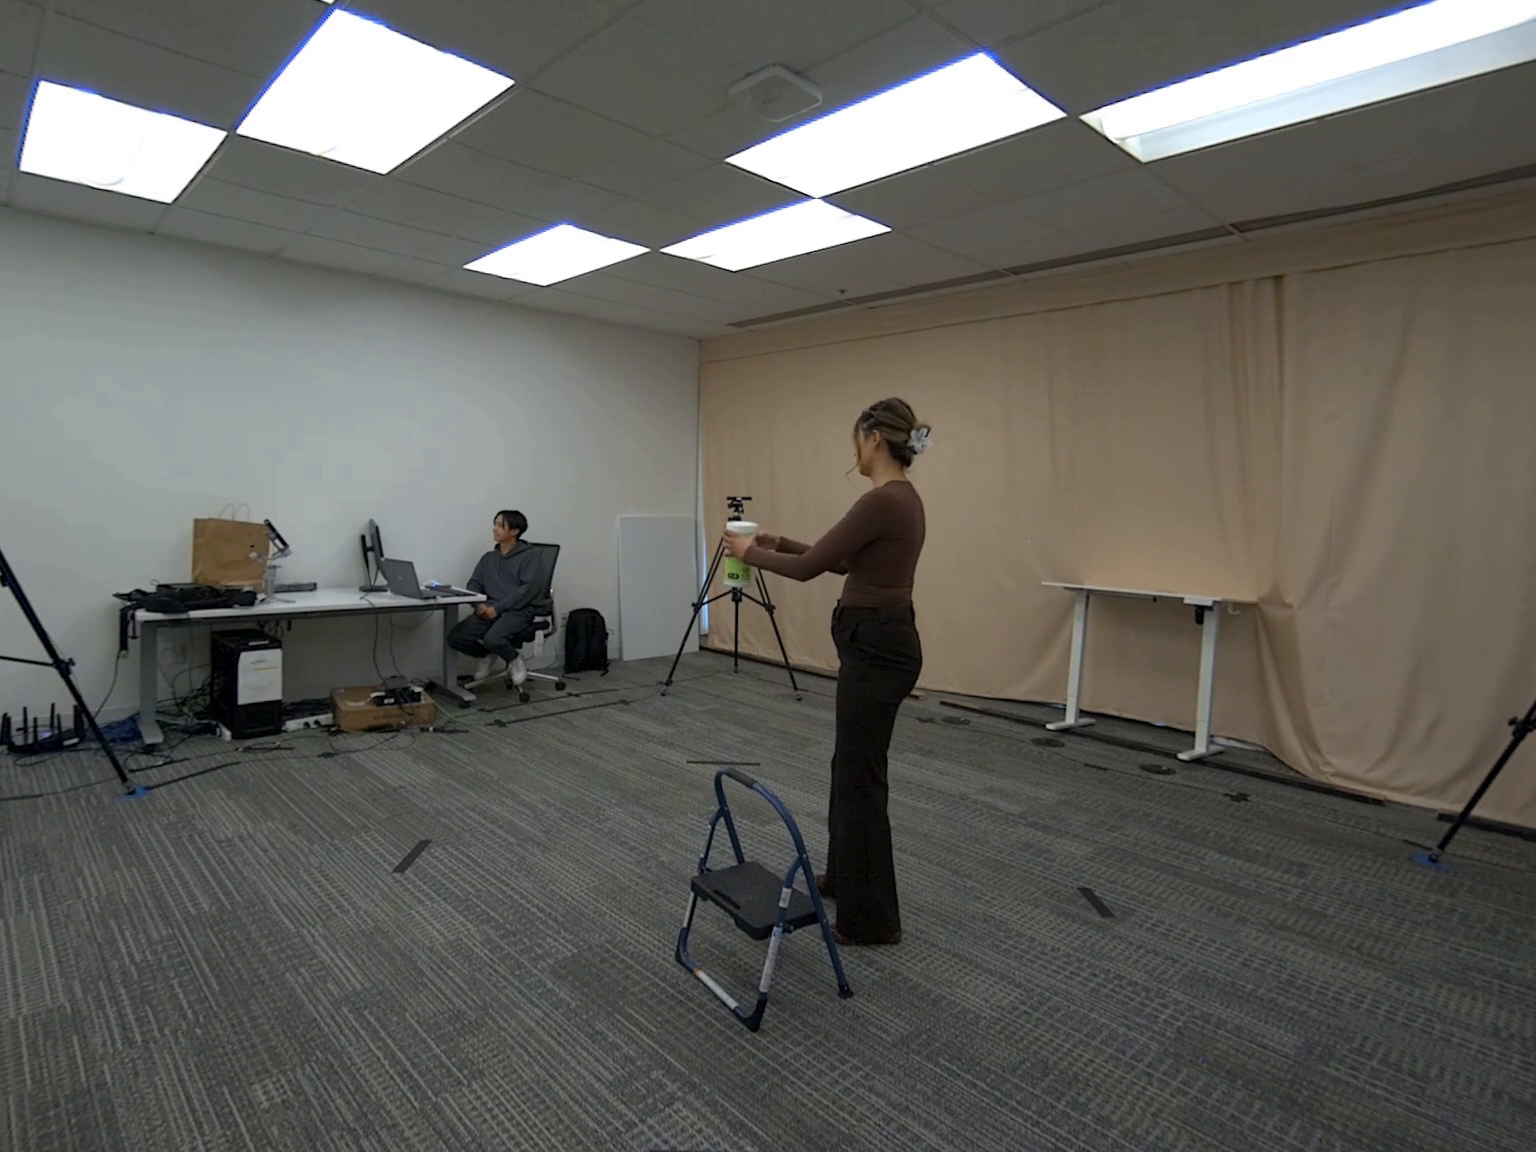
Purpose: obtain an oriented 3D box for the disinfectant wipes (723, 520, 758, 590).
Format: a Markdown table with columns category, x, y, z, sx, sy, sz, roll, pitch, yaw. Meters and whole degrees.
| category | x | y | z | sx | sy | sz | roll | pitch | yaw |
| --- | --- | --- | --- | --- | --- | --- | --- | --- | --- |
| disinfectant wipes | -0.089 | -0.072 | 2.859 | 0.117 | 0.216 | 0.118 | 2 | 9 | -2 |
